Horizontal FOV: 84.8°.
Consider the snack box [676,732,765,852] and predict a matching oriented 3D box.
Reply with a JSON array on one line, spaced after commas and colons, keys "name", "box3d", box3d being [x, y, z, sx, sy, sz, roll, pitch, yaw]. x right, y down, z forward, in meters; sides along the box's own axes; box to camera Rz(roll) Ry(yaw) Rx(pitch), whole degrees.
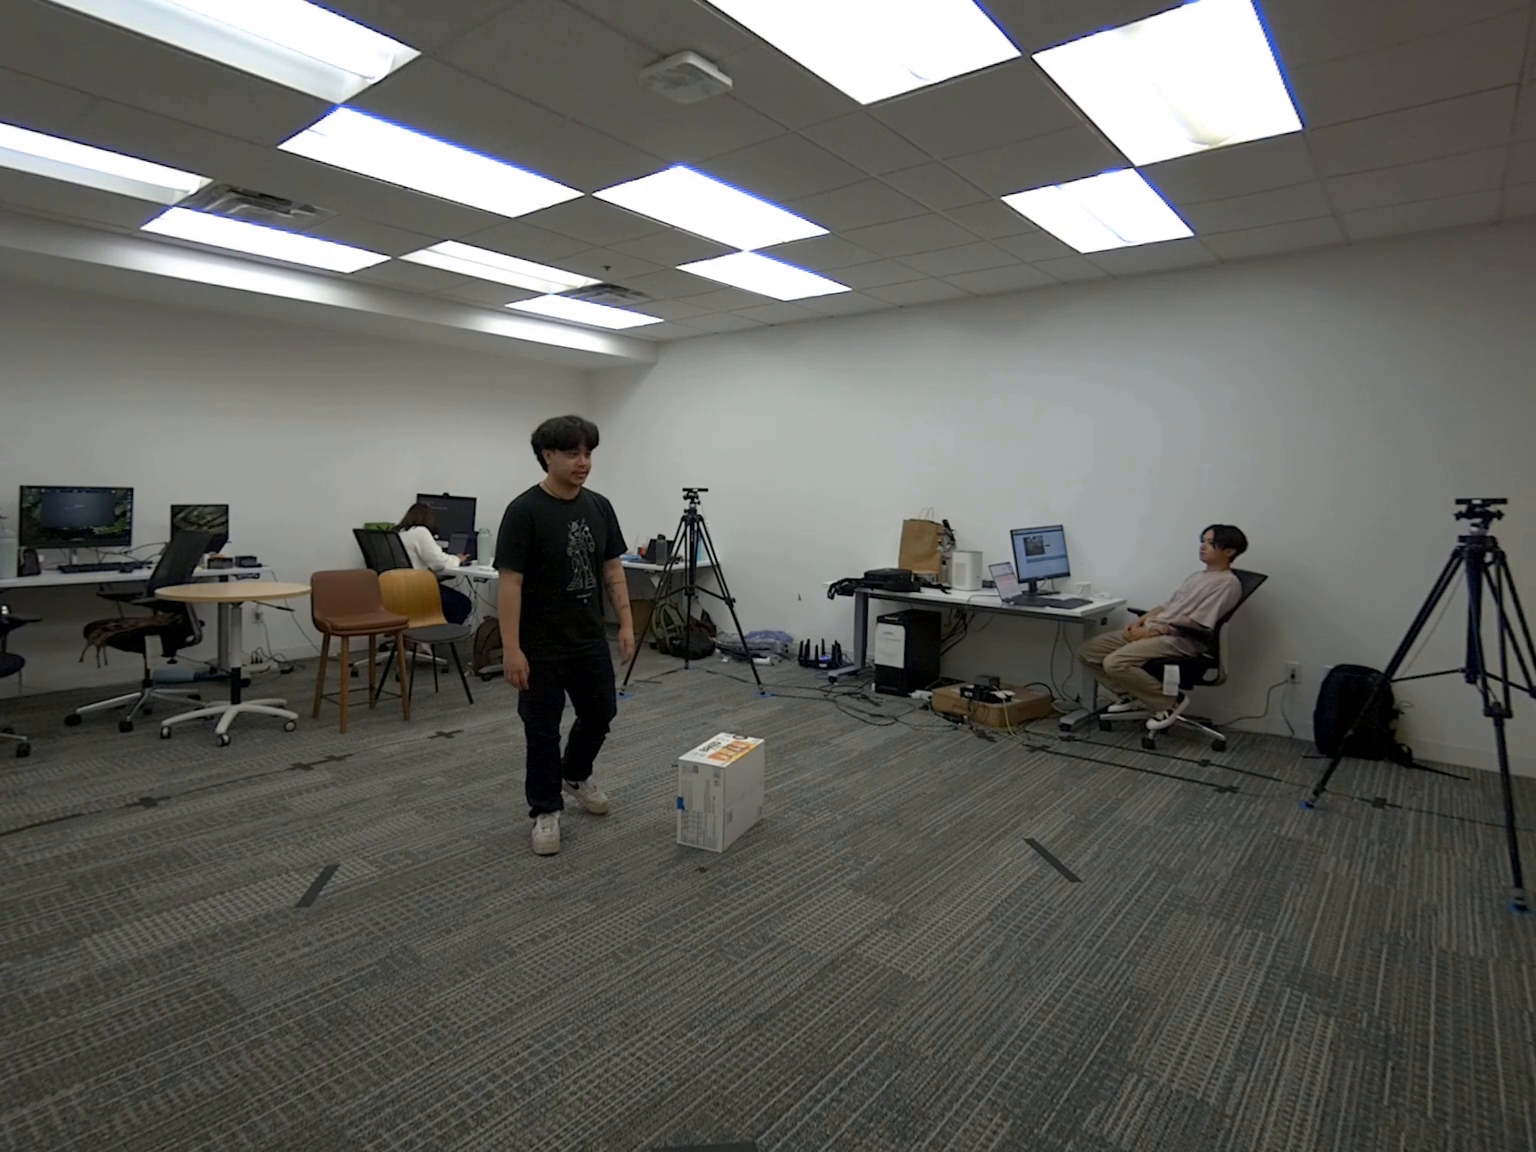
[{"name": "snack box", "box3d": [-0.195, 0.865, 3.458, 0.211, 0.339, 0.397, 3, 5, 23]}]
